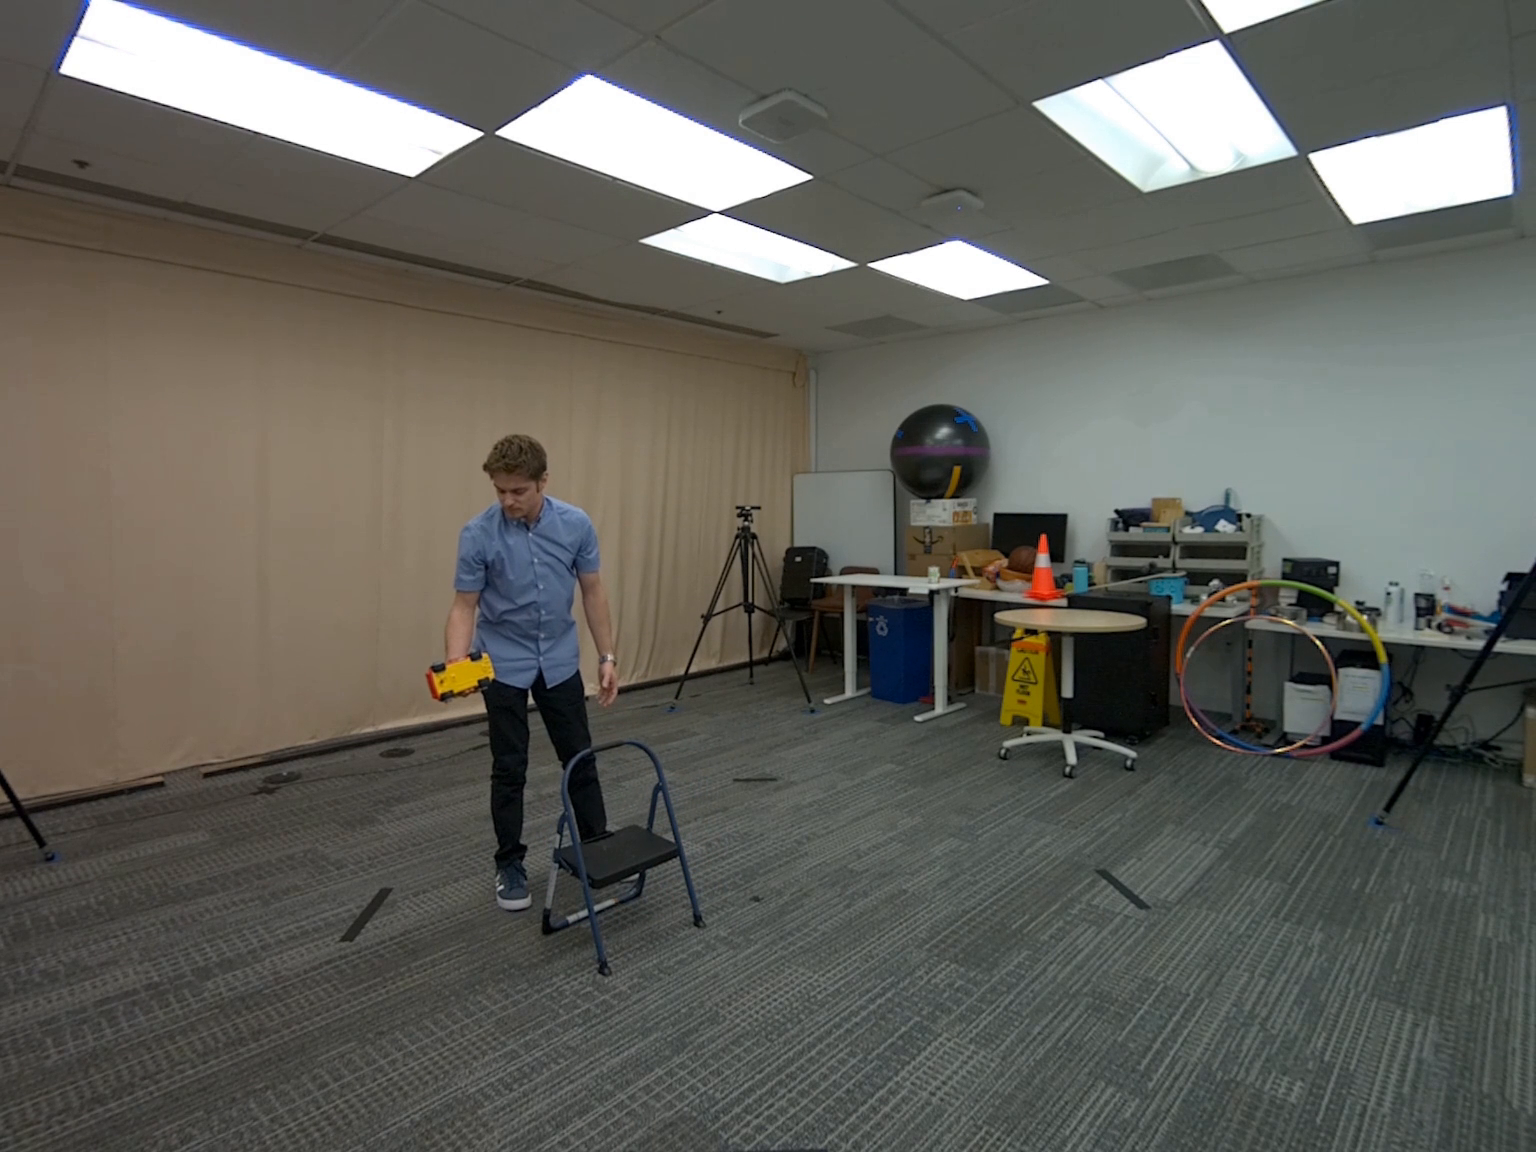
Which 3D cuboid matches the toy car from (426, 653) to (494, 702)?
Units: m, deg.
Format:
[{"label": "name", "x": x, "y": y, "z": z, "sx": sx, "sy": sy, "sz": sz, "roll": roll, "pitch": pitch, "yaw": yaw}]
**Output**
[{"label": "toy car", "x": -0.937, "y": 0.304, "z": 2.609, "sx": 0.084, "sy": 0.130, "sz": 0.250, "roll": -19, "pitch": 0, "yaw": 19}]
